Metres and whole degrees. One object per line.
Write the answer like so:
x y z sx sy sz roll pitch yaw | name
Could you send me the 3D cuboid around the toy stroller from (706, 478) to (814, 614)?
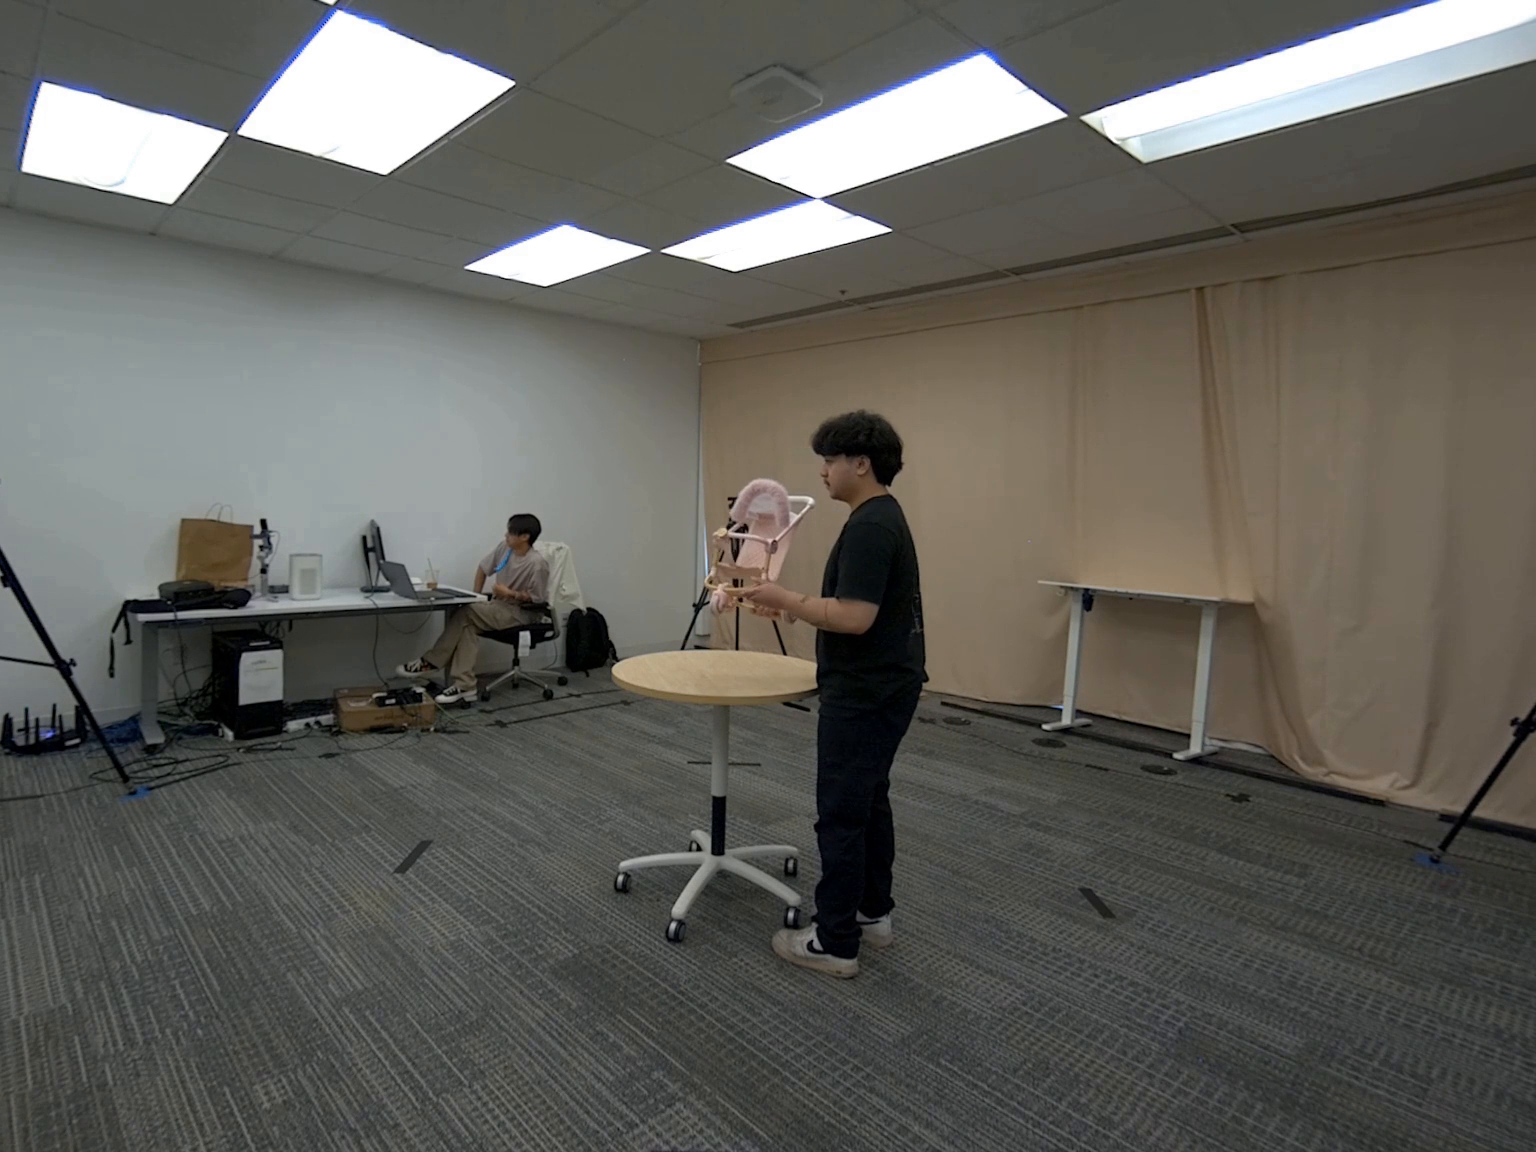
-0.051 -0.084 2.756 0.288 0.539 0.331 5 -19 33 | toy stroller
